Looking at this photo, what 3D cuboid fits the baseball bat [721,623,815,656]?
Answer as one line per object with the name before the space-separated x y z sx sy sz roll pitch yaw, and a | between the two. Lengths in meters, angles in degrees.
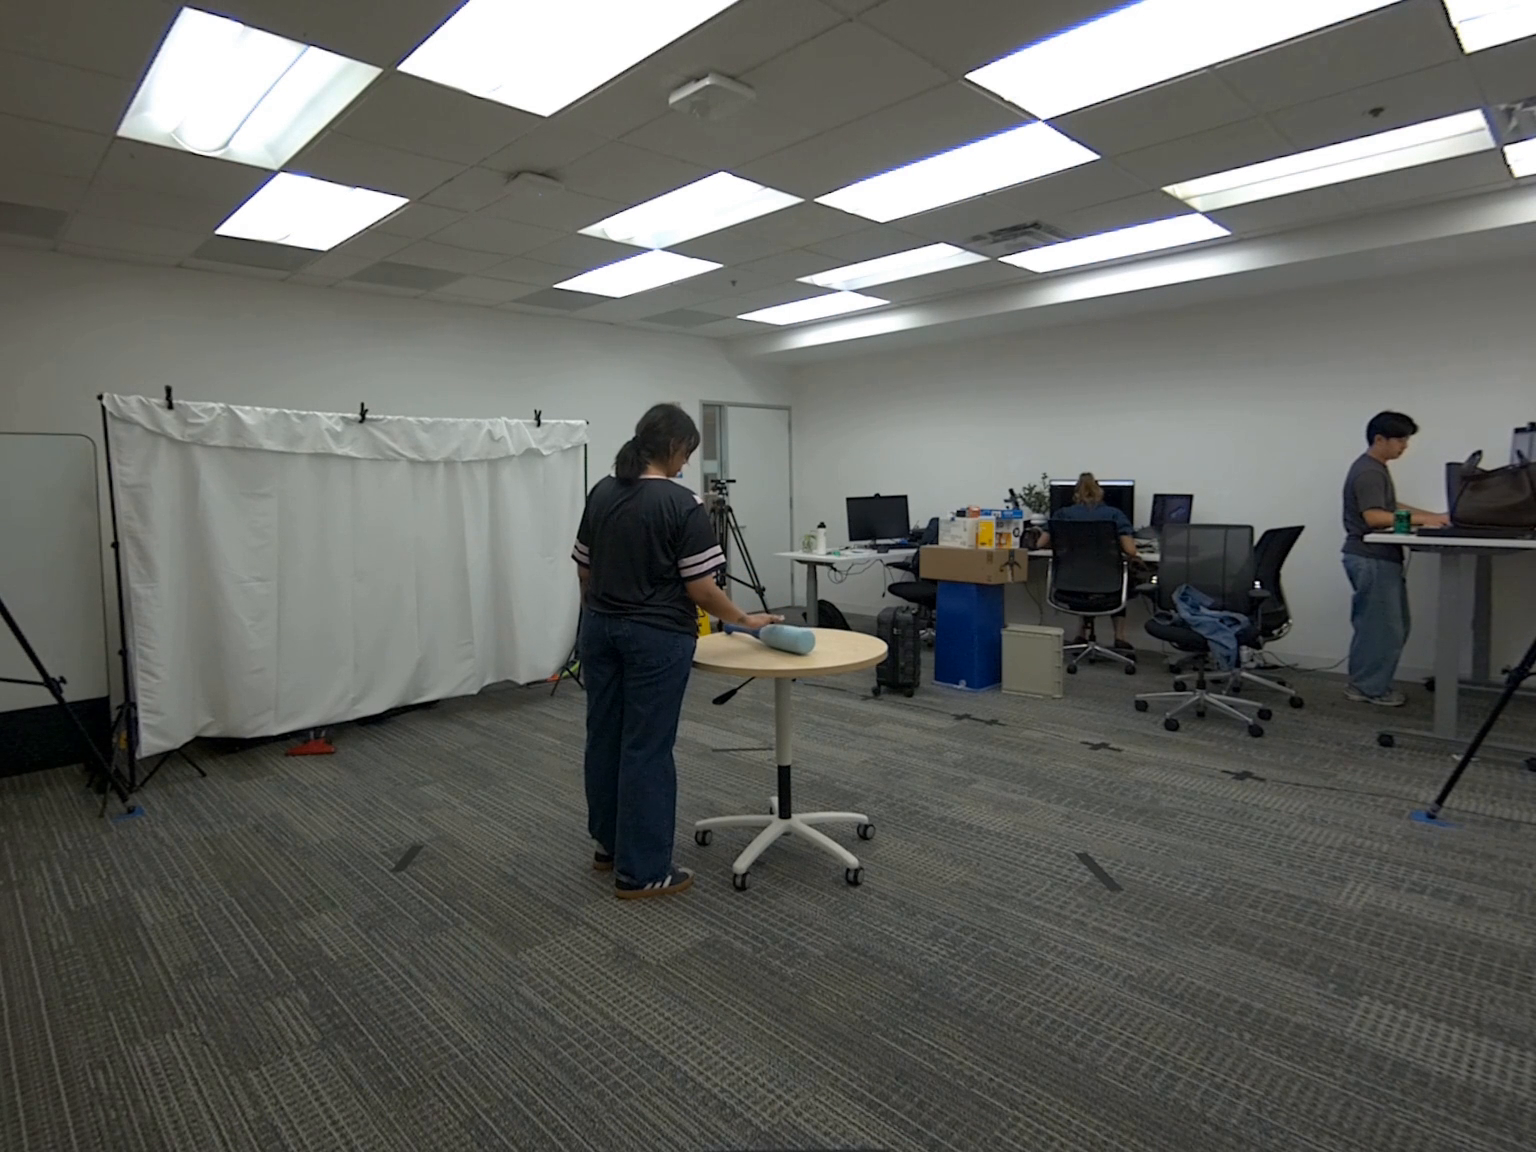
baseball bat | -0.015 0.217 3.181 0.087 0.089 0.558 -4 5 -32
